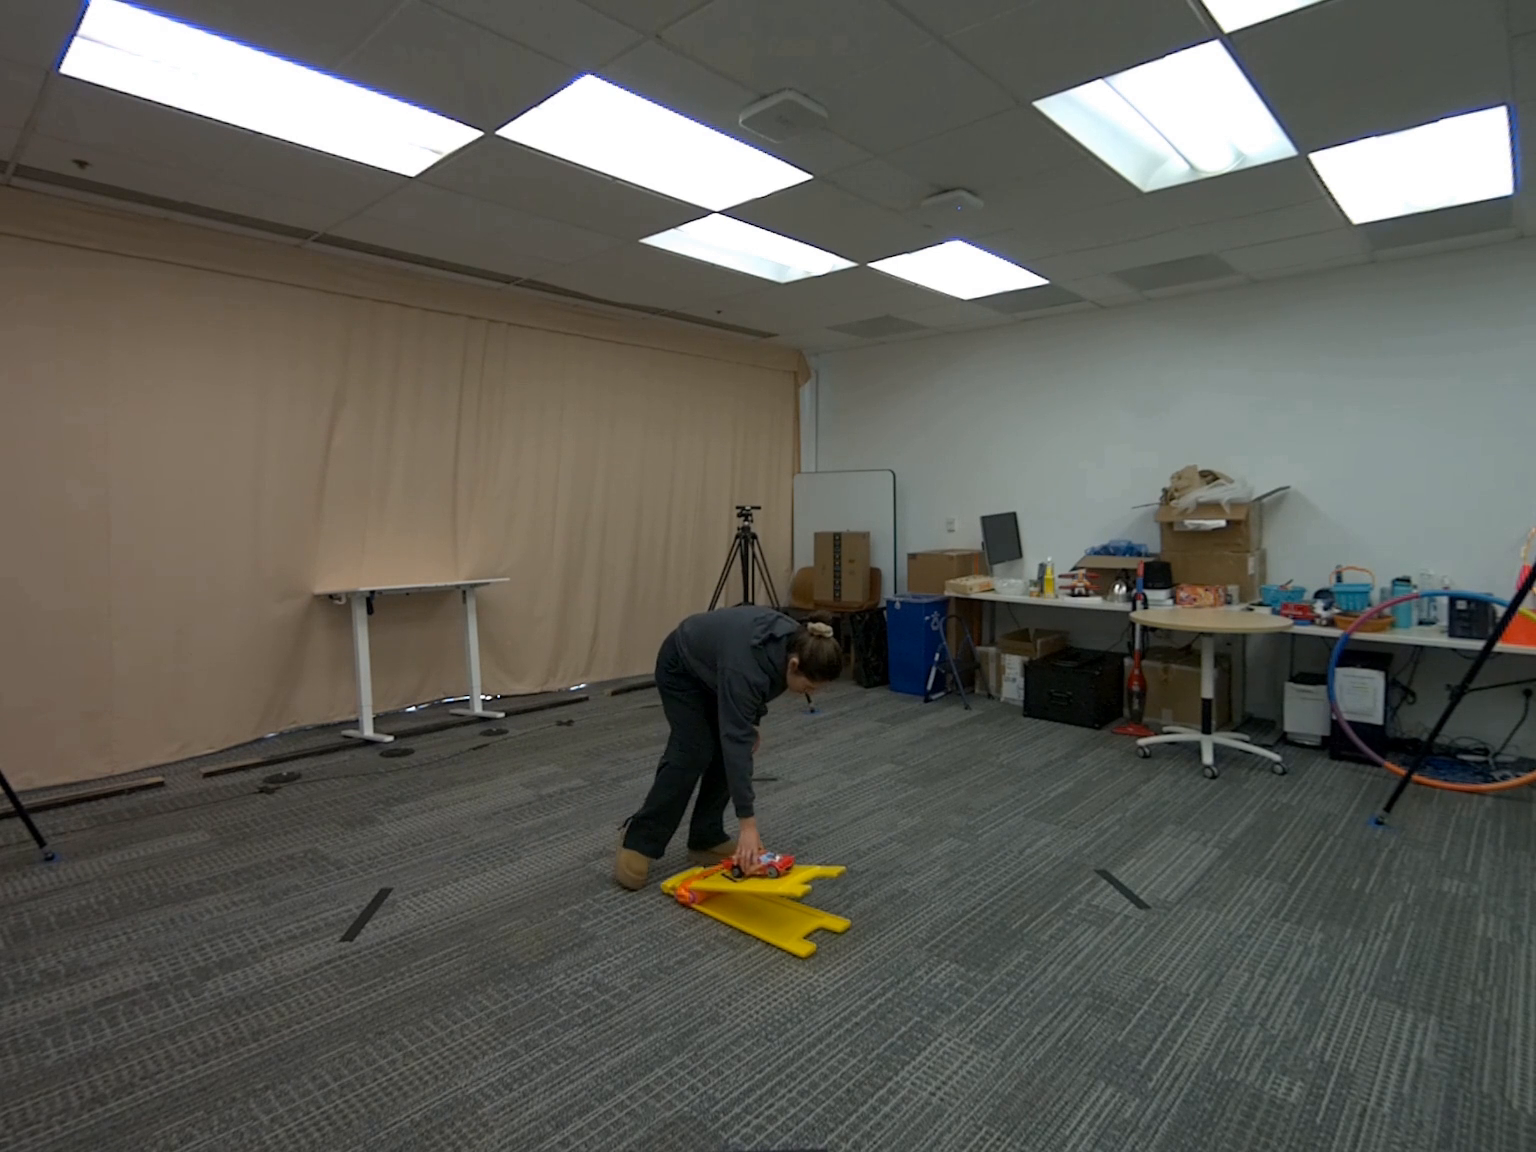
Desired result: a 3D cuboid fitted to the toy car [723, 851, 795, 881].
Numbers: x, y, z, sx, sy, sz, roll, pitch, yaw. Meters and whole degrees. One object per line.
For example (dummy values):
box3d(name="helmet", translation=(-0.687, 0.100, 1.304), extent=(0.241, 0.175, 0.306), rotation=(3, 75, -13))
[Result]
box3d(name="toy car", translation=(-0.018, 0.987, 2.874), extent=(0.262, 0.083, 0.126), rotation=(-3, 2, 36))
